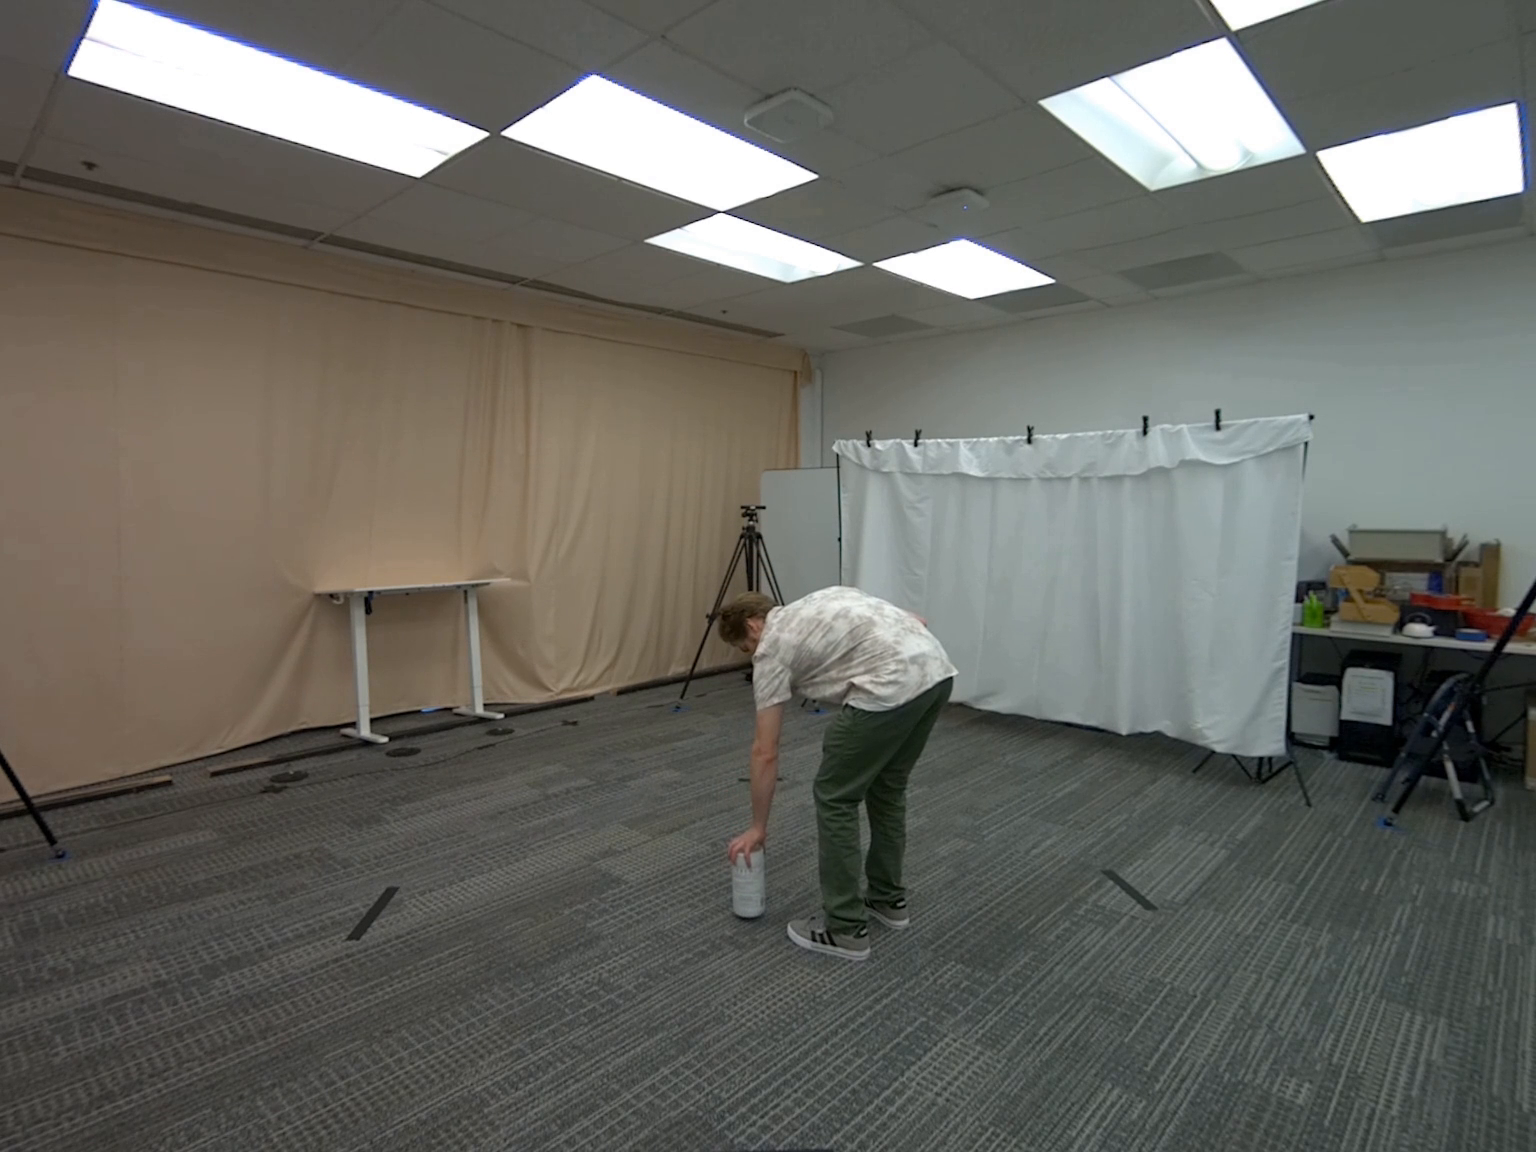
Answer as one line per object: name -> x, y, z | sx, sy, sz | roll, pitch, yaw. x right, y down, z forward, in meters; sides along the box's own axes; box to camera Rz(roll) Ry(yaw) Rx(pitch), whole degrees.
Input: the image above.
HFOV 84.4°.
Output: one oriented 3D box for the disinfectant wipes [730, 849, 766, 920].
disinfectant wipes -> -0.059, 1.036, 2.854 | 0.118, 0.217, 0.118 | -1, 2, -2
